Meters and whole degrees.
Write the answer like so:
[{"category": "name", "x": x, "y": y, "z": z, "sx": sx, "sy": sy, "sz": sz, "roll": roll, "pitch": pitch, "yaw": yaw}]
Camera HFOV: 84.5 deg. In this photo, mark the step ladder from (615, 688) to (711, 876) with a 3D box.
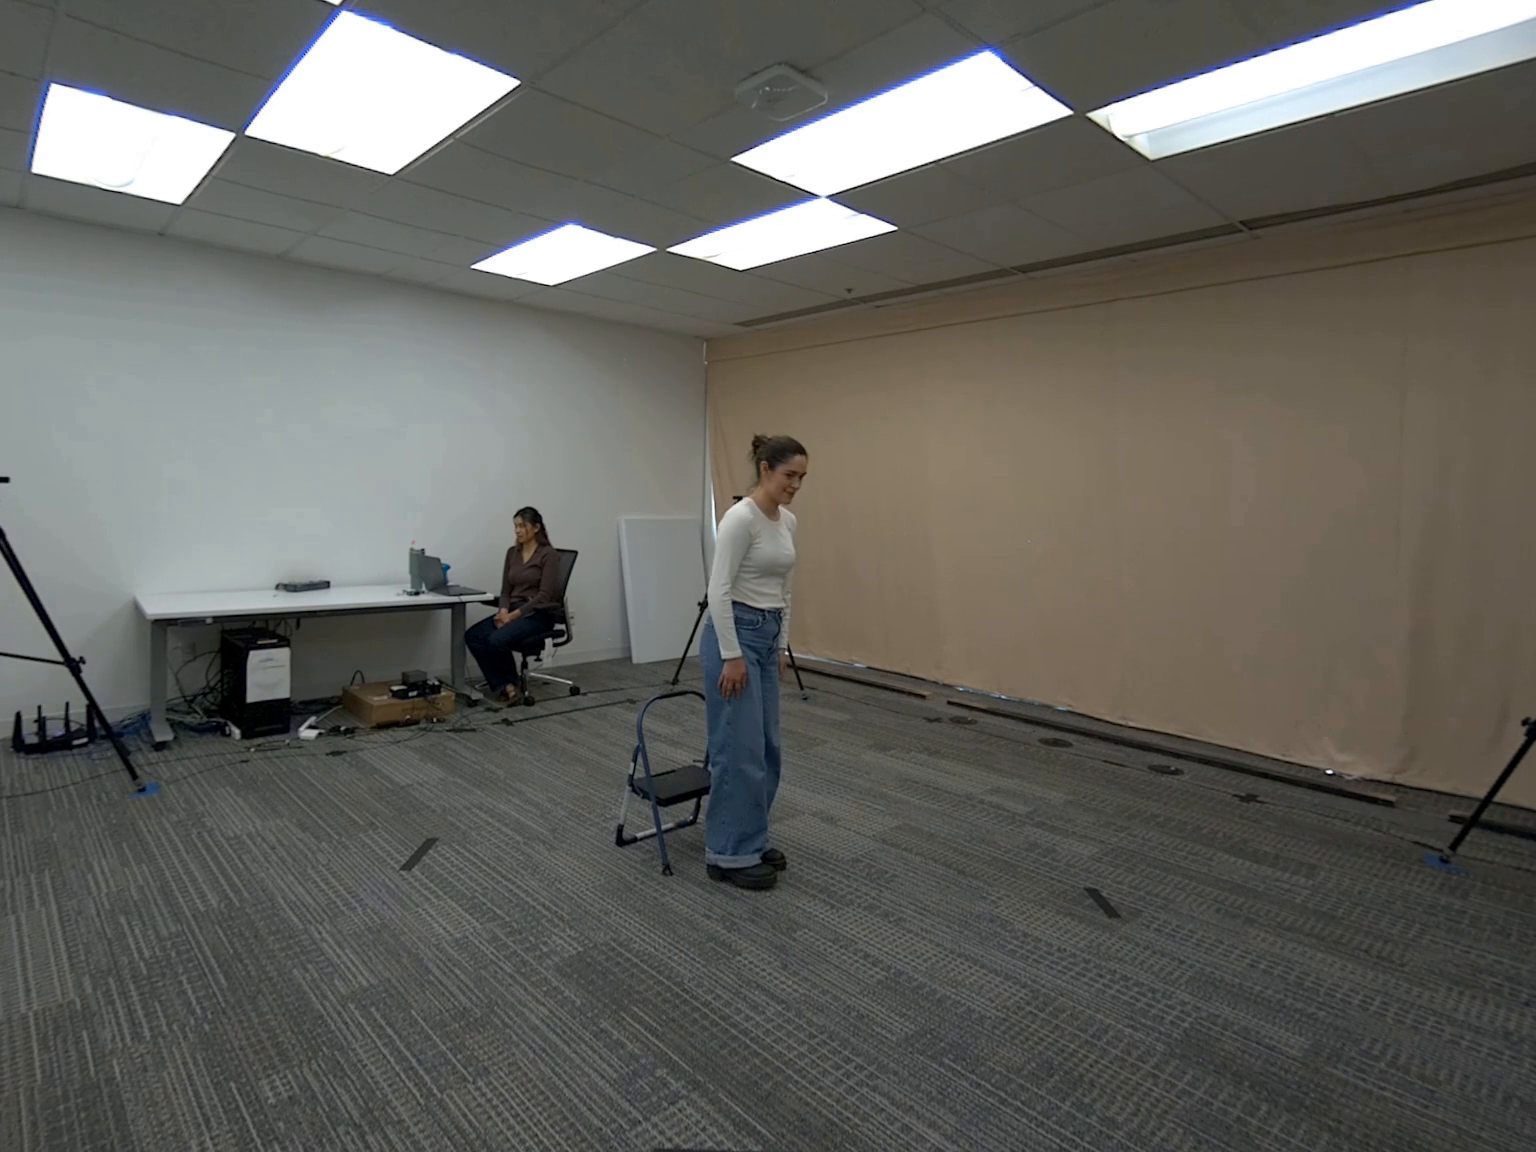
[{"category": "step ladder", "x": -0.341, "y": 0.771, "z": 3.337, "sx": 0.421, "sy": 0.605, "sz": 0.358, "roll": -2, "pitch": 5, "yaw": -44}]
